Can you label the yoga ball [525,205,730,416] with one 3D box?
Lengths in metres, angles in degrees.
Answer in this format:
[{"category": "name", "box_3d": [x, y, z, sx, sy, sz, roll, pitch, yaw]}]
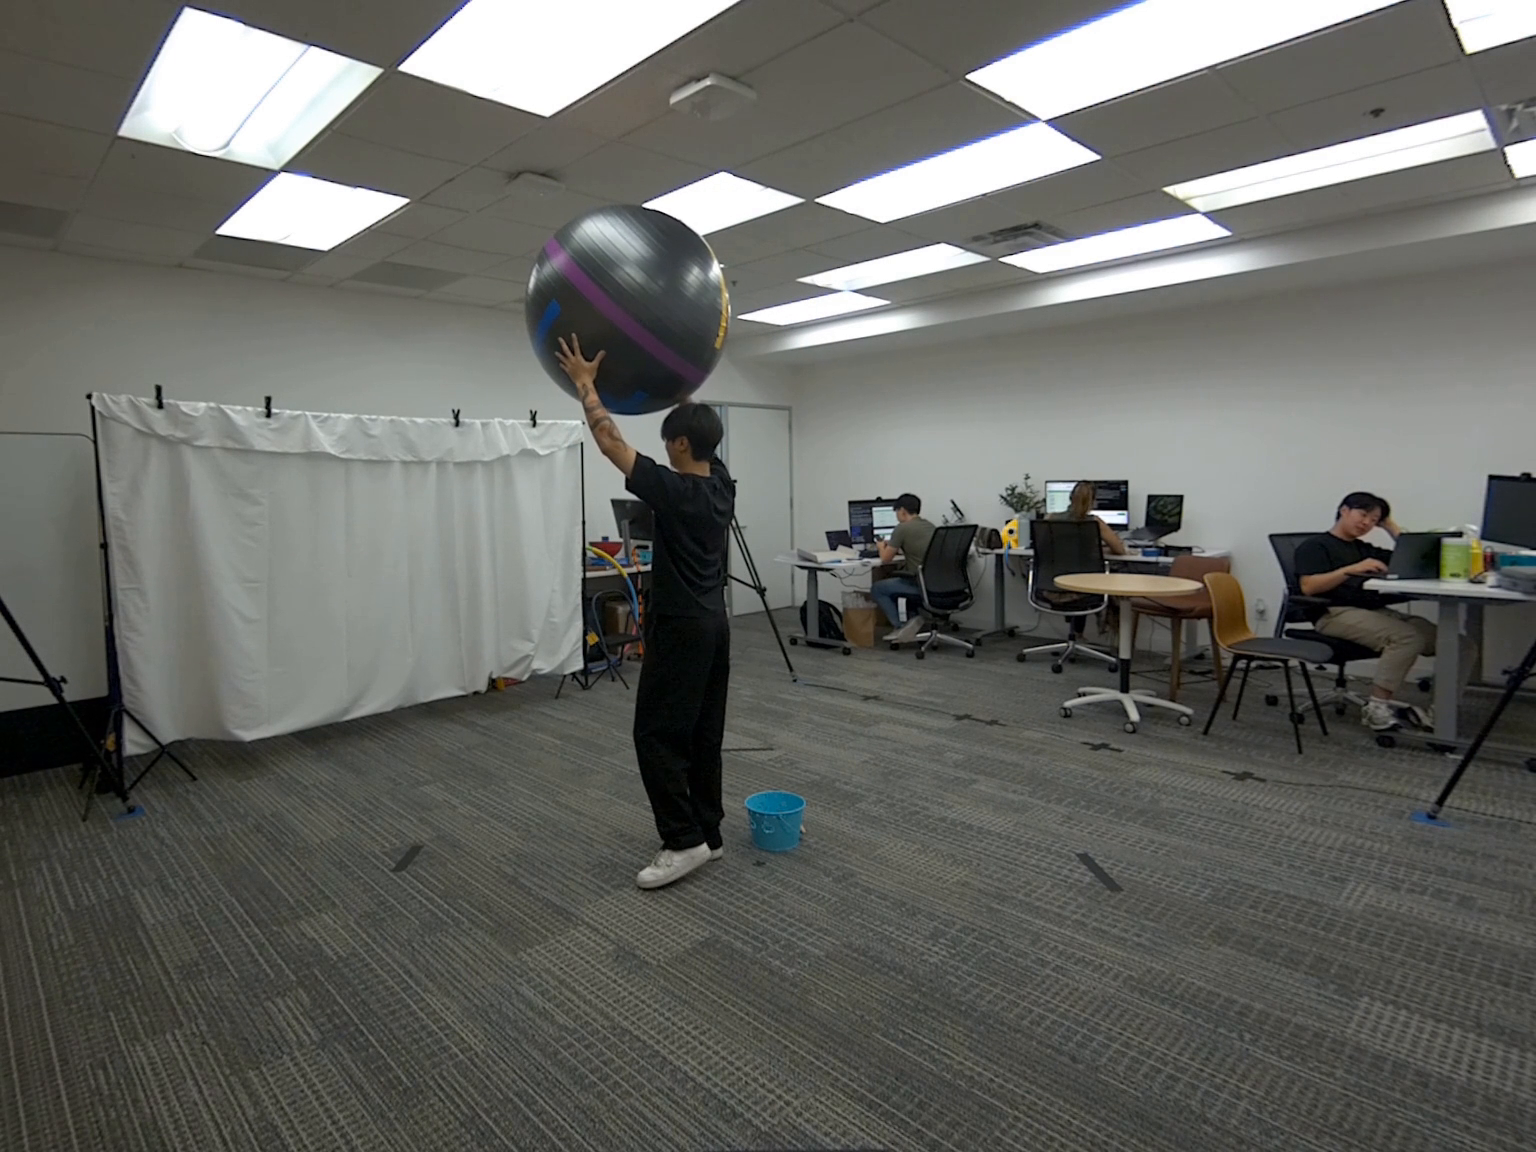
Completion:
[{"category": "yoga ball", "box_3d": [-0.525, -0.984, 3.201, 0.757, 0.755, 0.762, -1, 5, -2]}]
